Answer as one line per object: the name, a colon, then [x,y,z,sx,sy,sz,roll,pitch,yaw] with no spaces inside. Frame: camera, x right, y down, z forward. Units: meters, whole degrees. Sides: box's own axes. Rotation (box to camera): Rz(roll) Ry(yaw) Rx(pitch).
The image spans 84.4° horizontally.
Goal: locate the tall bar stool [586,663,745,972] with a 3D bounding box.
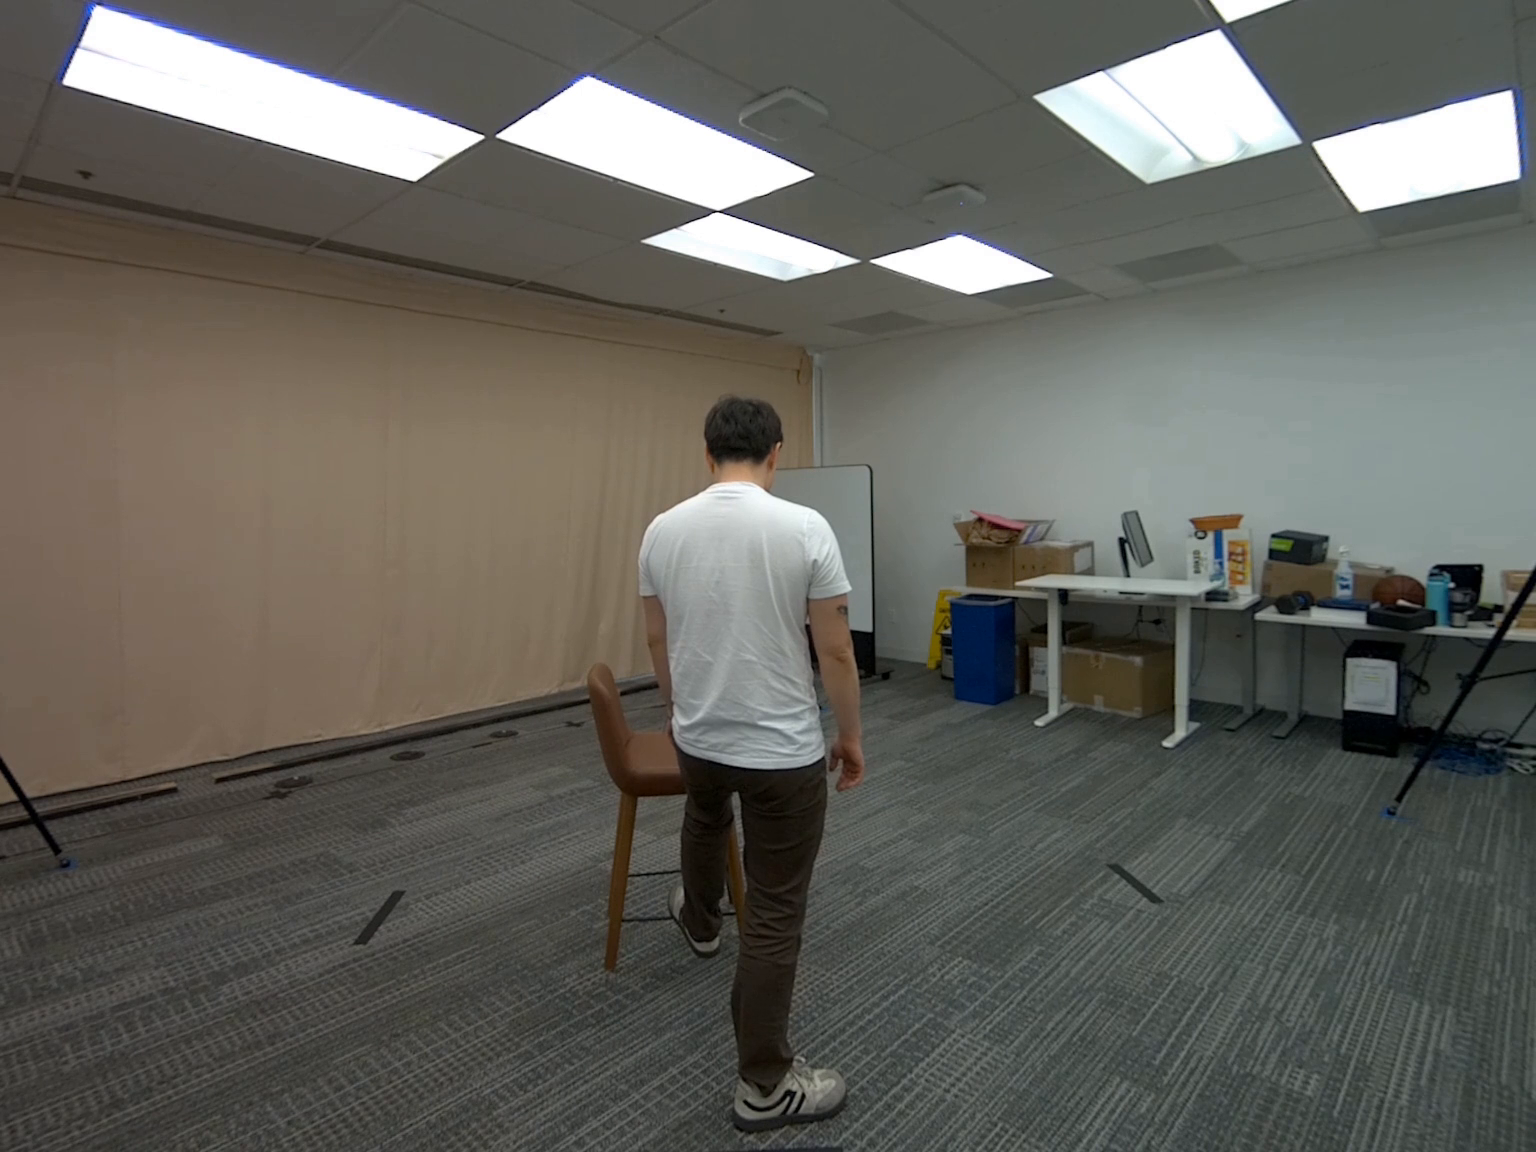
tall bar stool: [-0.315,0.733,2.715,0.465,0.888,0.460,-3,3,-7]
